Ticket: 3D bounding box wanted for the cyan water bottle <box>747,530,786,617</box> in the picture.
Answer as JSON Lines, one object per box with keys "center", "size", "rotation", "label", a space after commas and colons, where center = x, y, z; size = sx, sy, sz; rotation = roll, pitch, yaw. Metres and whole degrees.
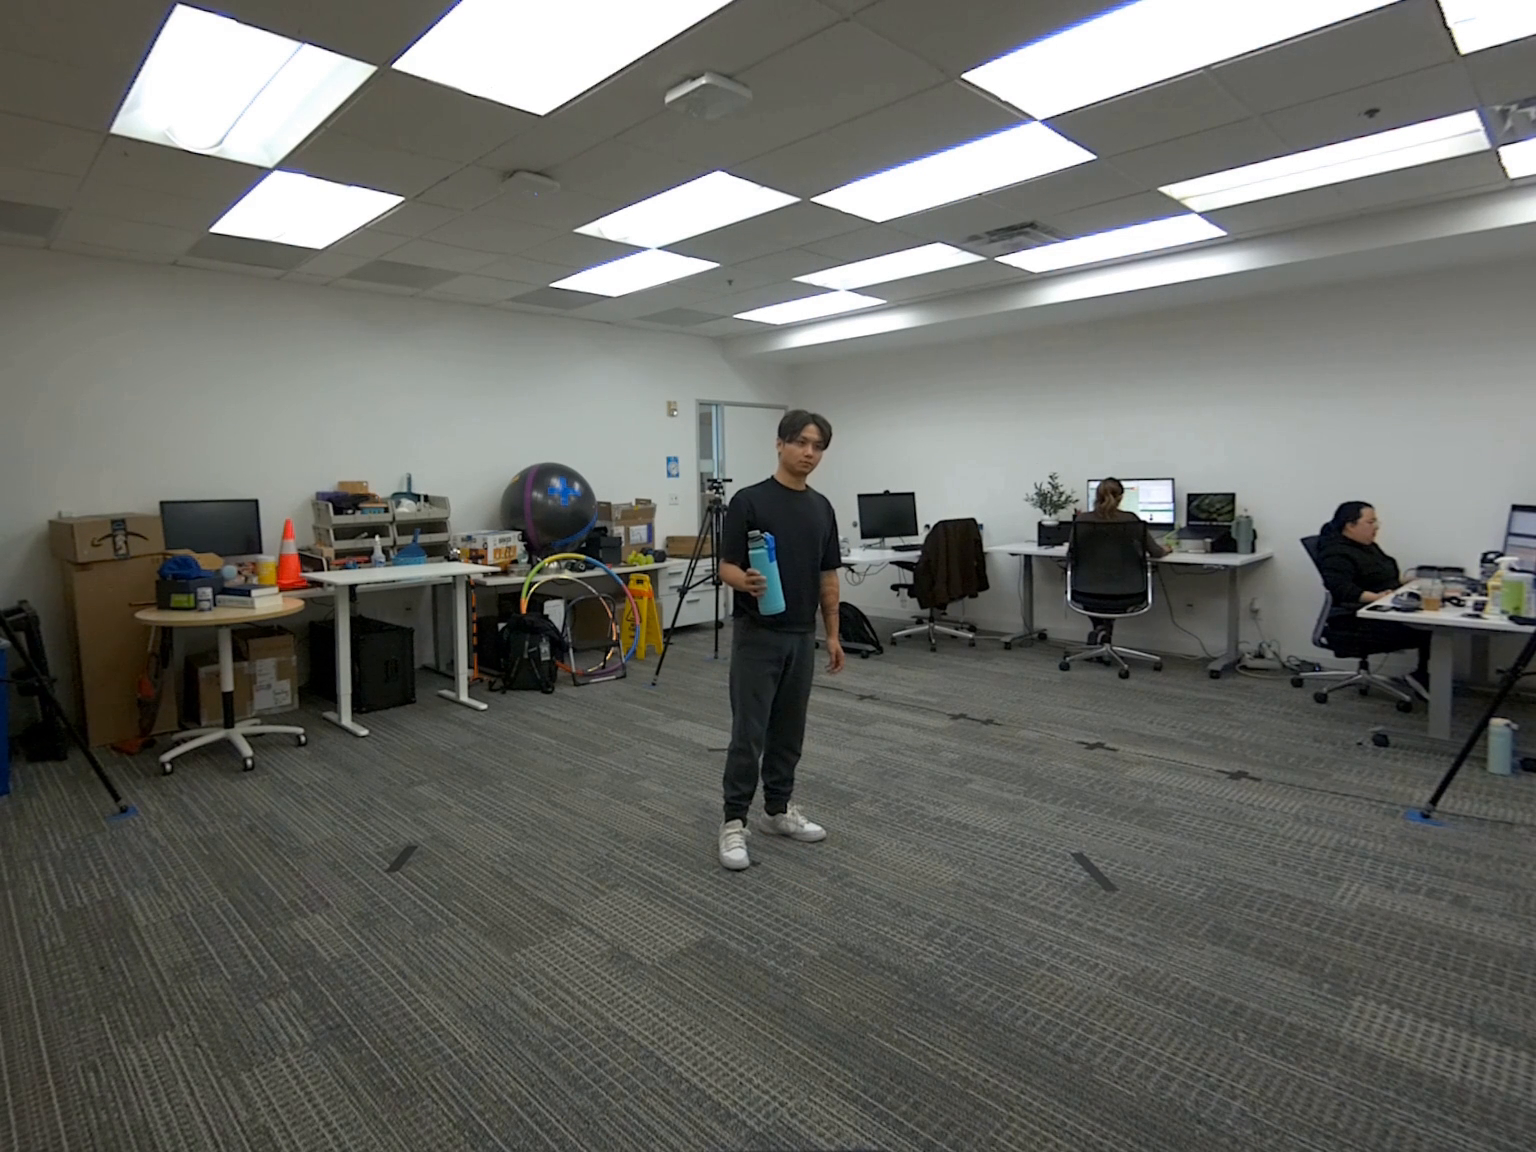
{"center": [-0.010, -0.015, 2.920], "size": [0.092, 0.281, 0.093], "rotation": [-8, 8, 0], "label": "cyan water bottle"}
